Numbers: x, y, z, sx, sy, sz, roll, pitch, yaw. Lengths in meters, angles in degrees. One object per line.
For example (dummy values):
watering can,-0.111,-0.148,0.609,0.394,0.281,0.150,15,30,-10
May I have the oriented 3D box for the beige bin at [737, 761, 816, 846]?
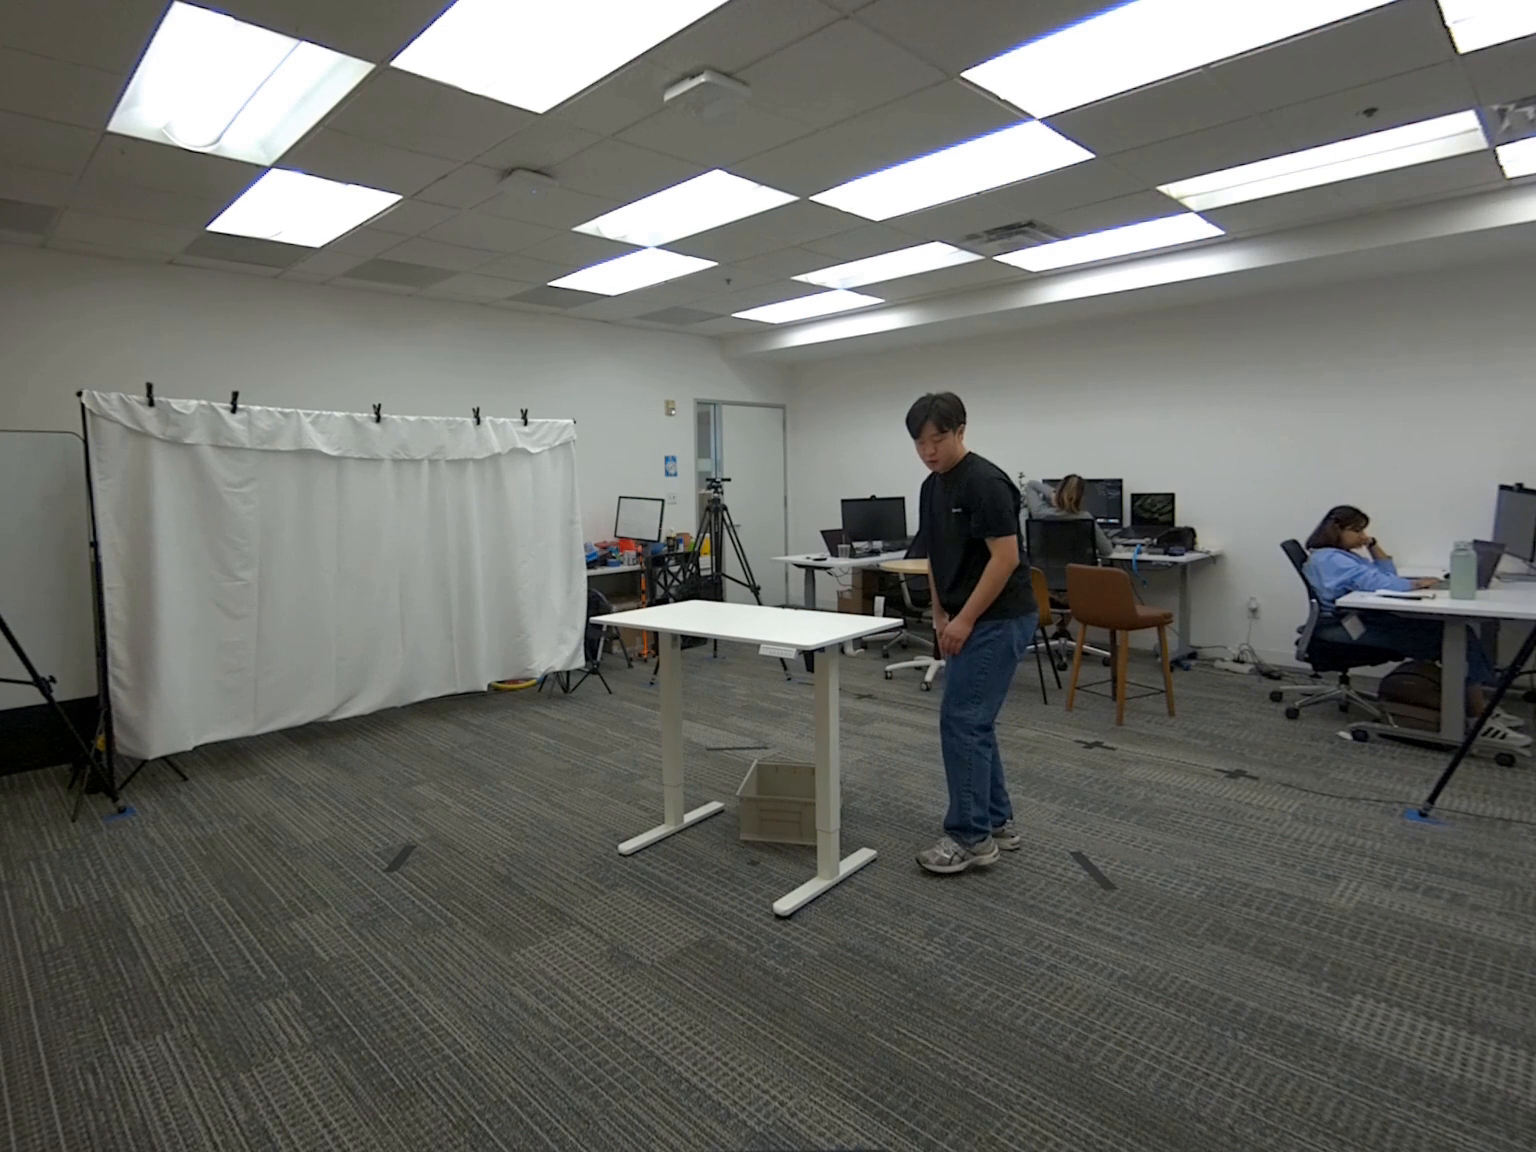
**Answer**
beige bin,0.098,0.911,3.465,0.382,0.188,0.419,0,7,12
